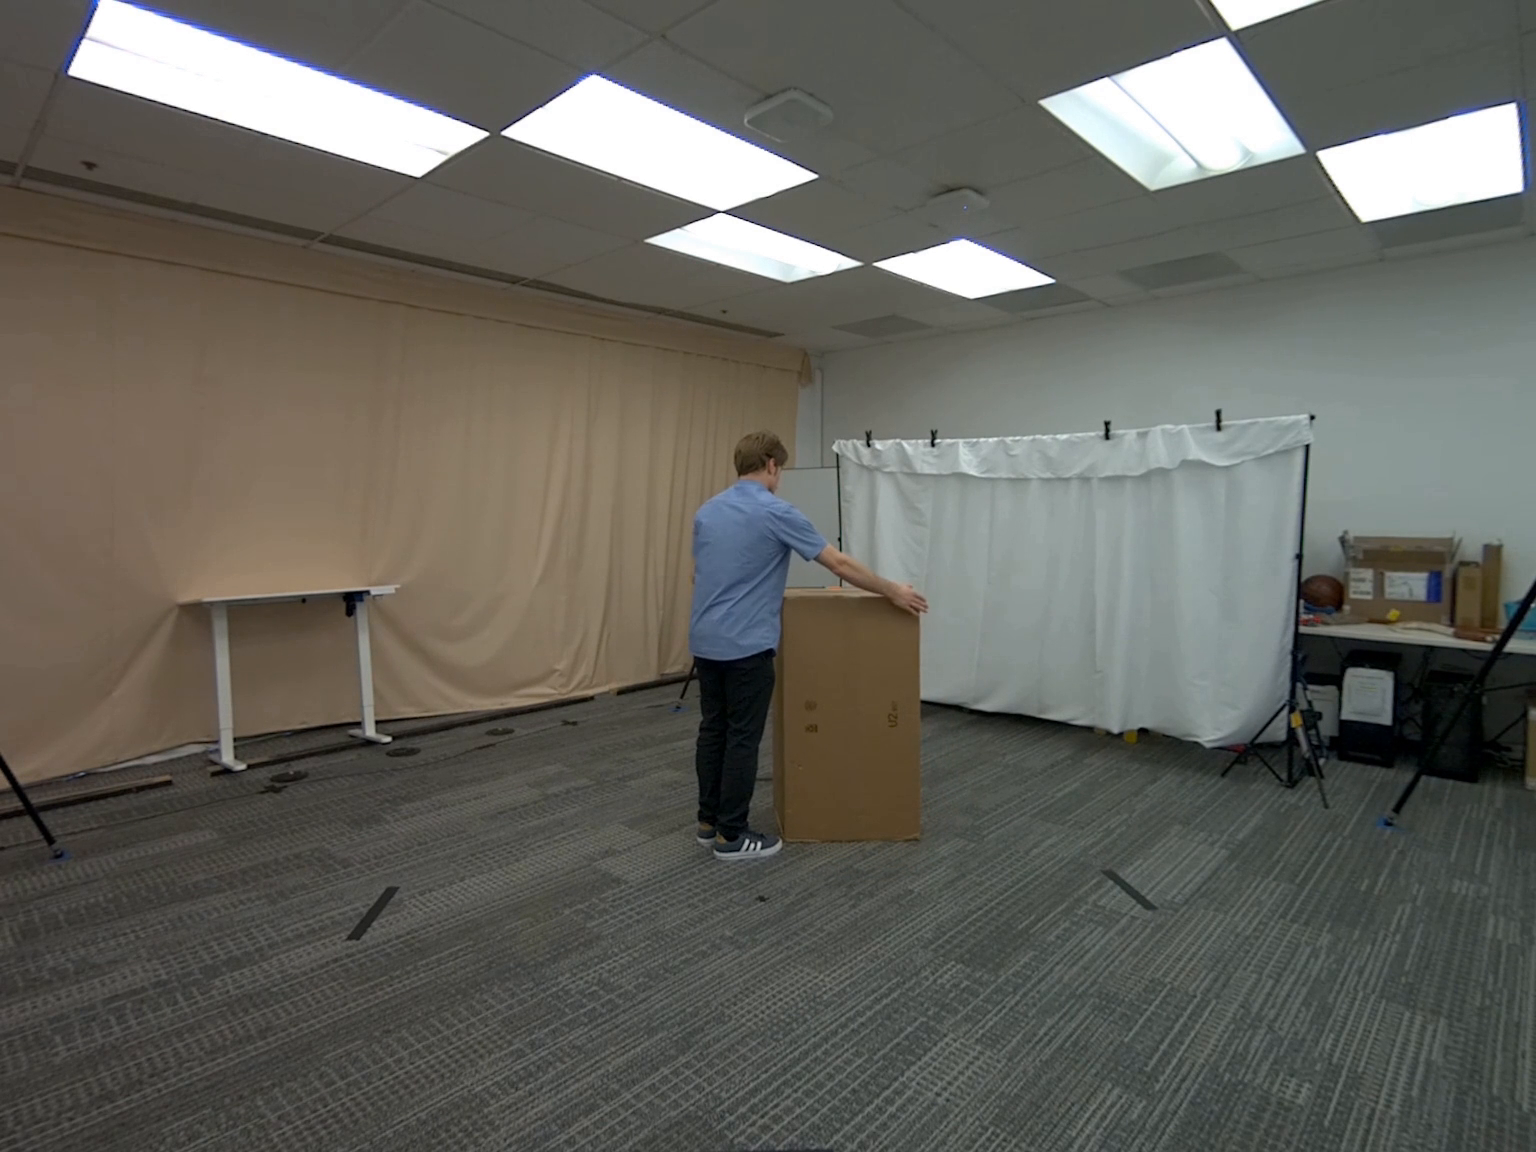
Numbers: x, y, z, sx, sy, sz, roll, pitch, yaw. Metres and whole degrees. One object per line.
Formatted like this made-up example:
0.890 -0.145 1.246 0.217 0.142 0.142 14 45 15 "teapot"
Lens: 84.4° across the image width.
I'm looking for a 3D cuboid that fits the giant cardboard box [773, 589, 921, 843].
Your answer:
0.326 0.574 3.683 0.576 1.024 0.428 -1 3 -2 "giant cardboard box"
